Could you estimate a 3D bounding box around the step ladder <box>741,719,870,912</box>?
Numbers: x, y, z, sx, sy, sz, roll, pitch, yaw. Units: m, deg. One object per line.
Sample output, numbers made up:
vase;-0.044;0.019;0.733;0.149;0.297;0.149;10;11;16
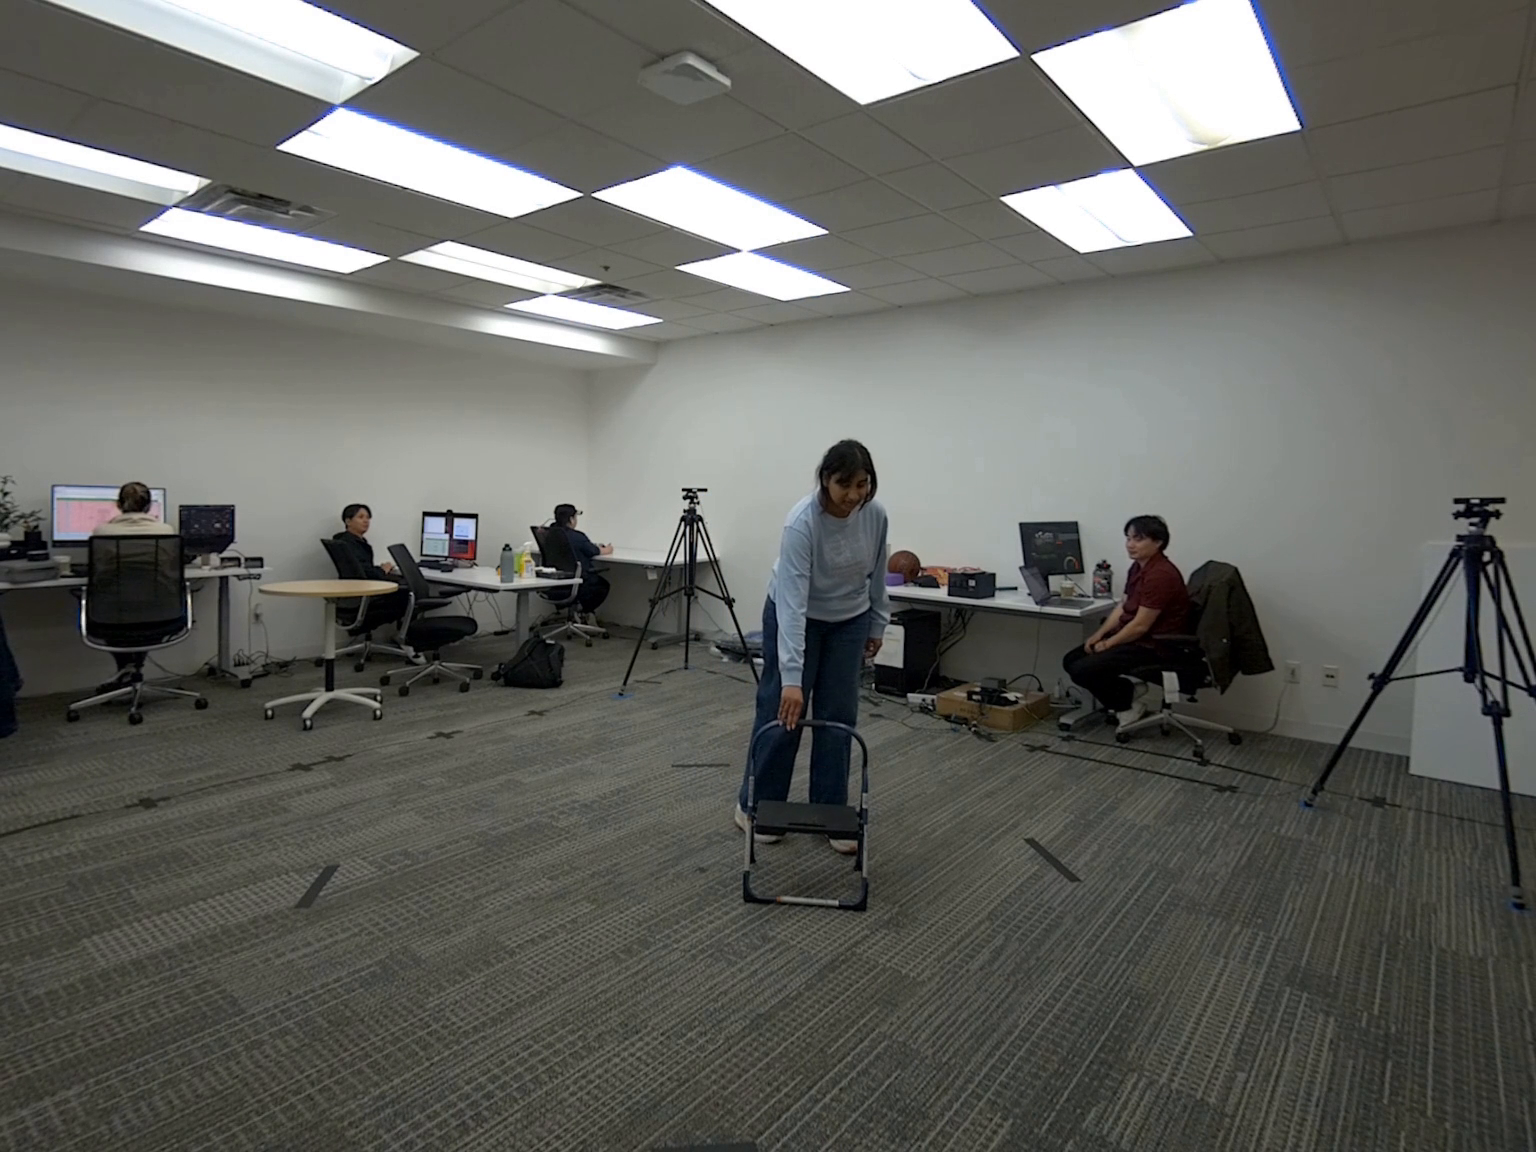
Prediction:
step ladder;0.131;0.788;2.997;0.433;0.605;0.348;1;2;5
